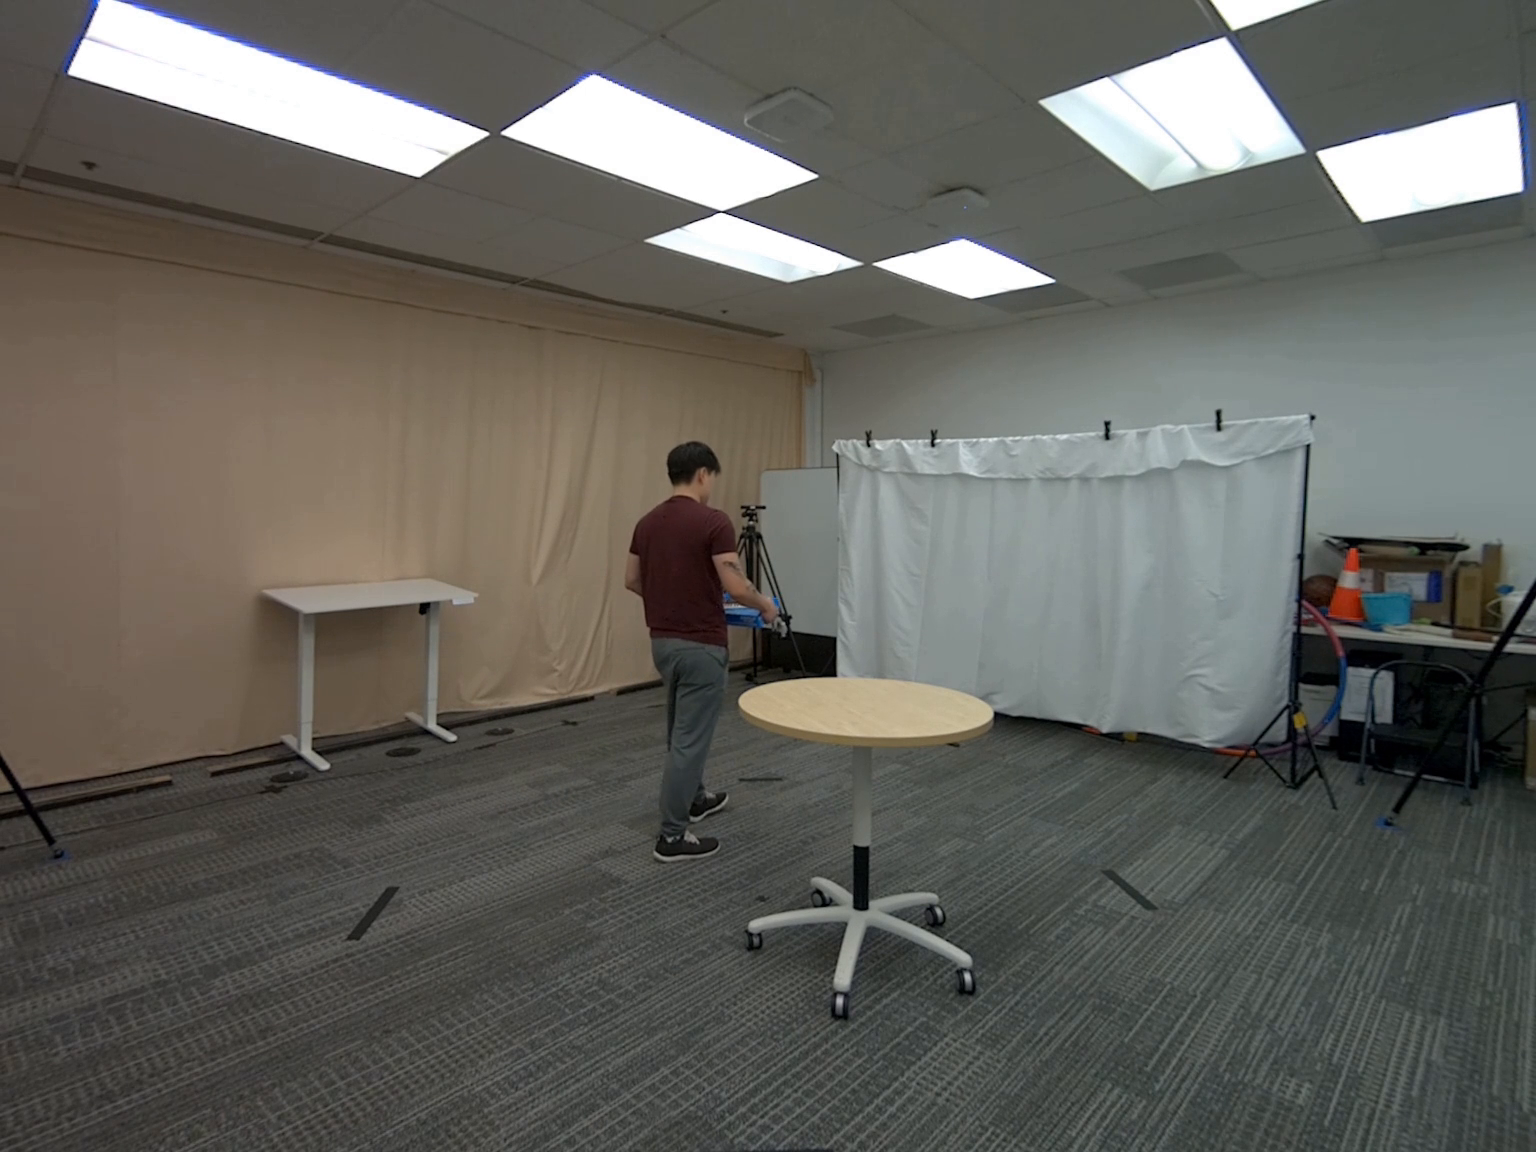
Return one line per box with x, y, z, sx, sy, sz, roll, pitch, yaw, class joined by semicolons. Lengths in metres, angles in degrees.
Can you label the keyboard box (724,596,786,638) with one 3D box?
-0.196;0.140;3.647;0.451;0.058;0.173;5;26;34;keyboard box
